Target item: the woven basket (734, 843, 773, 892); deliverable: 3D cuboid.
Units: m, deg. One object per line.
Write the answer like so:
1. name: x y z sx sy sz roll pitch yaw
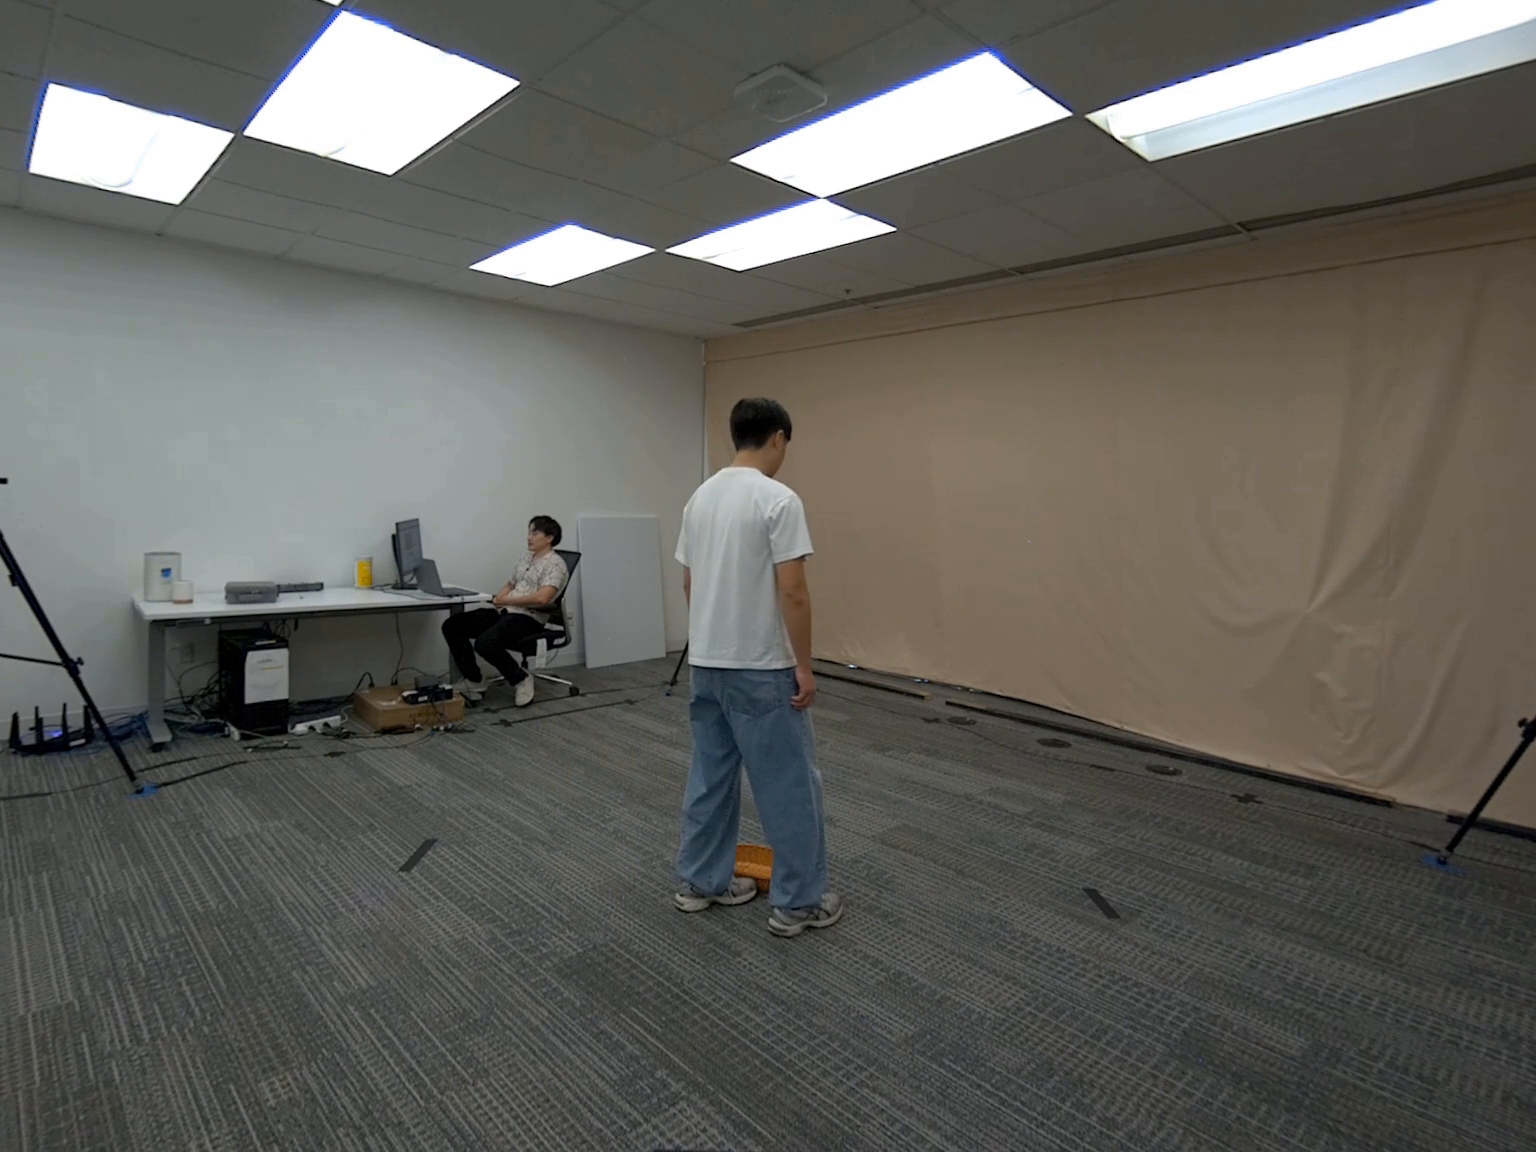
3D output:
1. woven basket: -0.036 1.073 3.082 0.357 0.073 0.248 4 6 25
